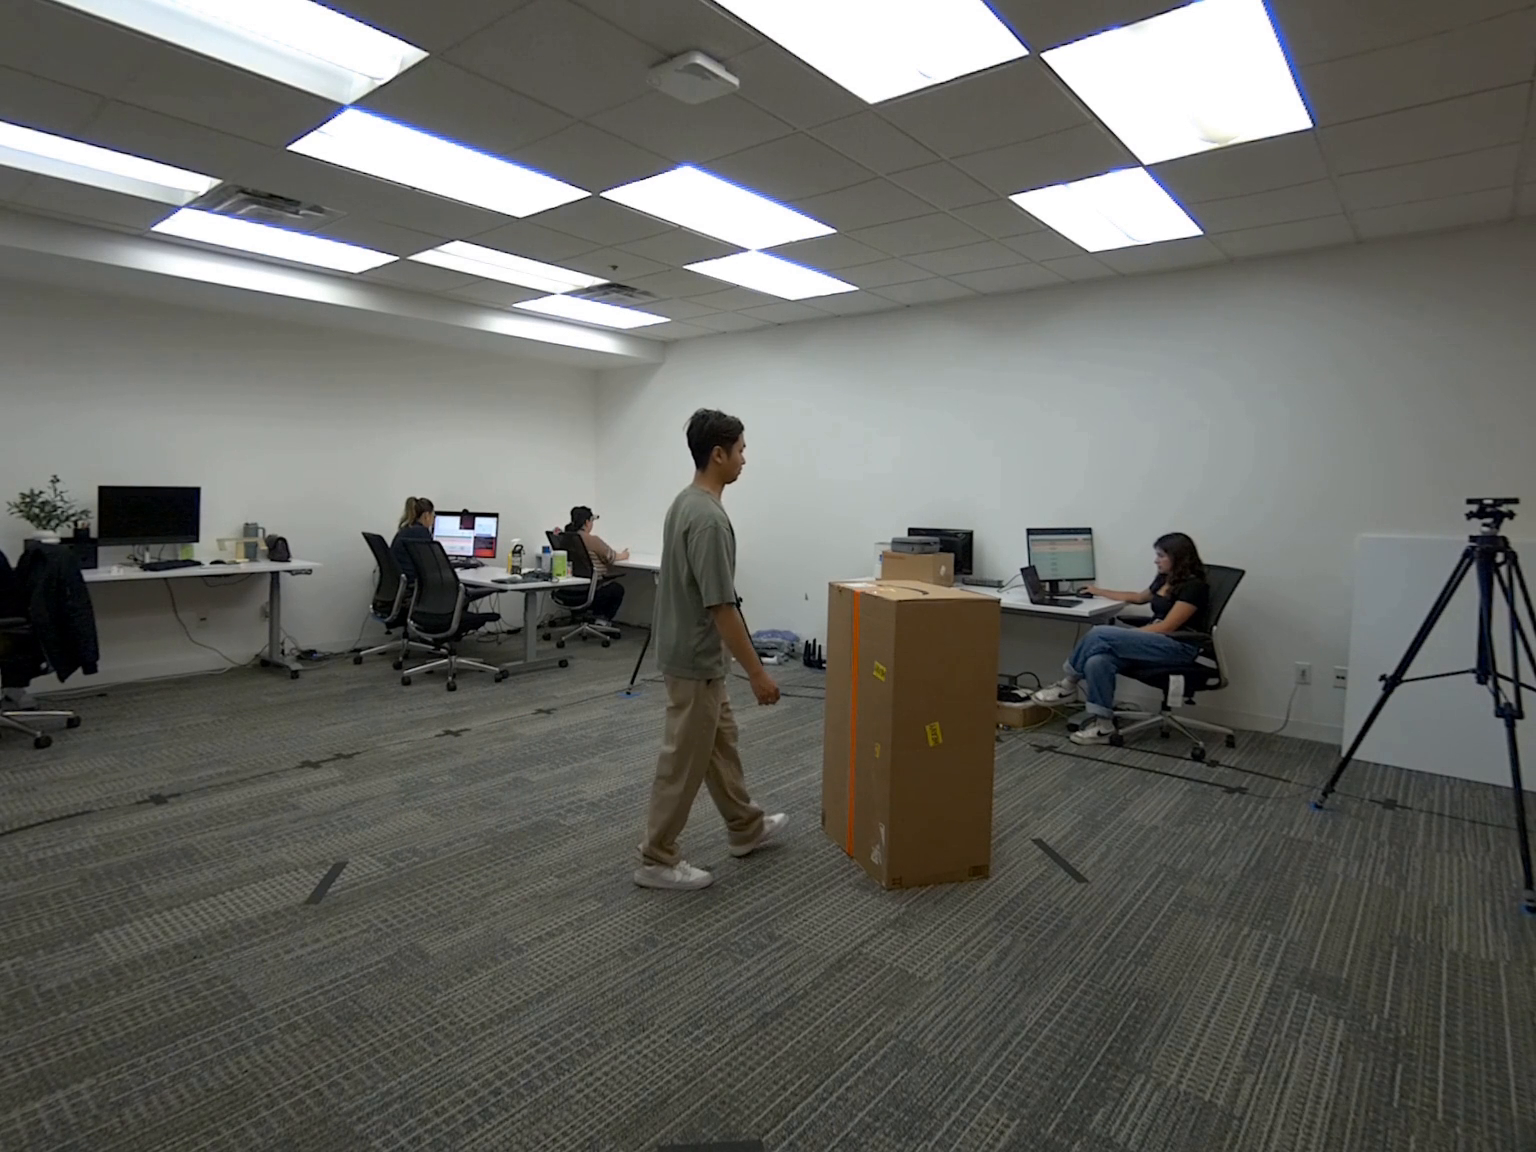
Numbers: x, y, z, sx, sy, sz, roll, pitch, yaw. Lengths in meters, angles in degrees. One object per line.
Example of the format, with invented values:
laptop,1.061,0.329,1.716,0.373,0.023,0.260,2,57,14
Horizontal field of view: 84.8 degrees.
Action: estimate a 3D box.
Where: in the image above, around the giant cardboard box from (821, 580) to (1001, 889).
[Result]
giant cardboard box,0.520,0.557,3.274,0.418,1.023,0.591,0,4,-20
